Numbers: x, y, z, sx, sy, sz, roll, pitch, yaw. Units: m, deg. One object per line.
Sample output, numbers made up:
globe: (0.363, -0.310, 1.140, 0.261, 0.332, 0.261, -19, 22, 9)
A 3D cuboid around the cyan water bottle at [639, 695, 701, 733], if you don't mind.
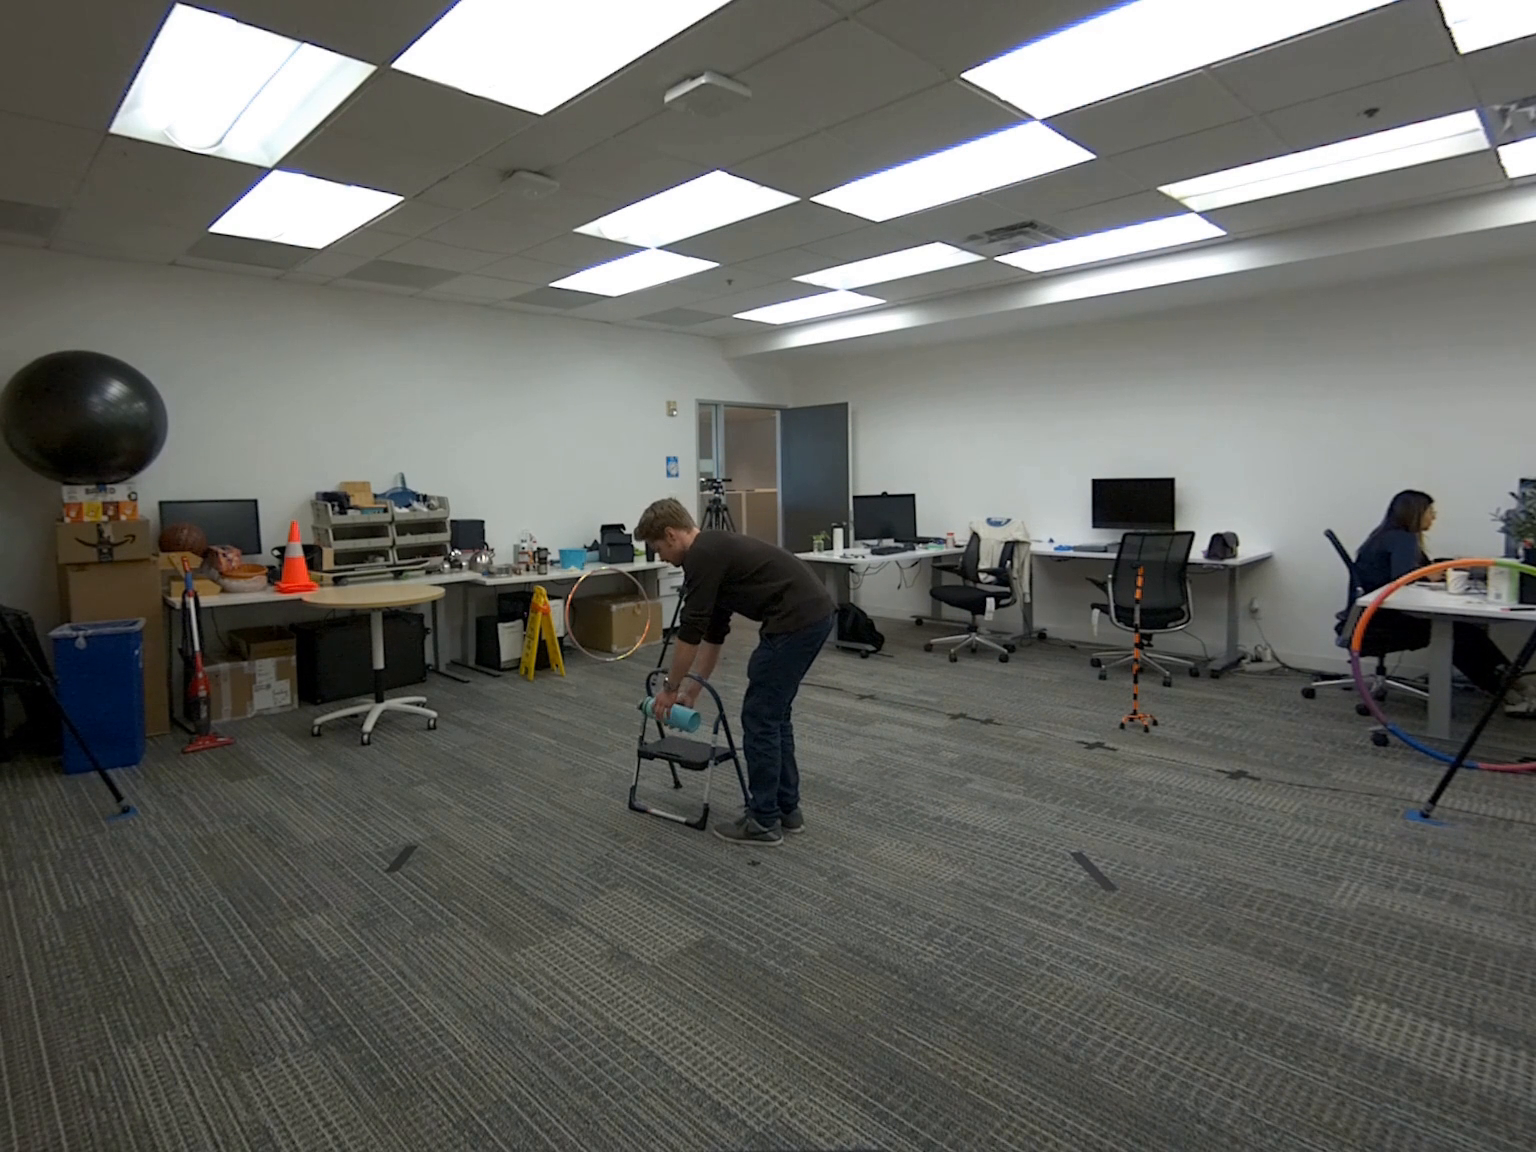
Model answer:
cyan water bottle: (-0.409, 0.563, 3.532, 0.292, 0.092, 0.090, 11, 10, 32)
